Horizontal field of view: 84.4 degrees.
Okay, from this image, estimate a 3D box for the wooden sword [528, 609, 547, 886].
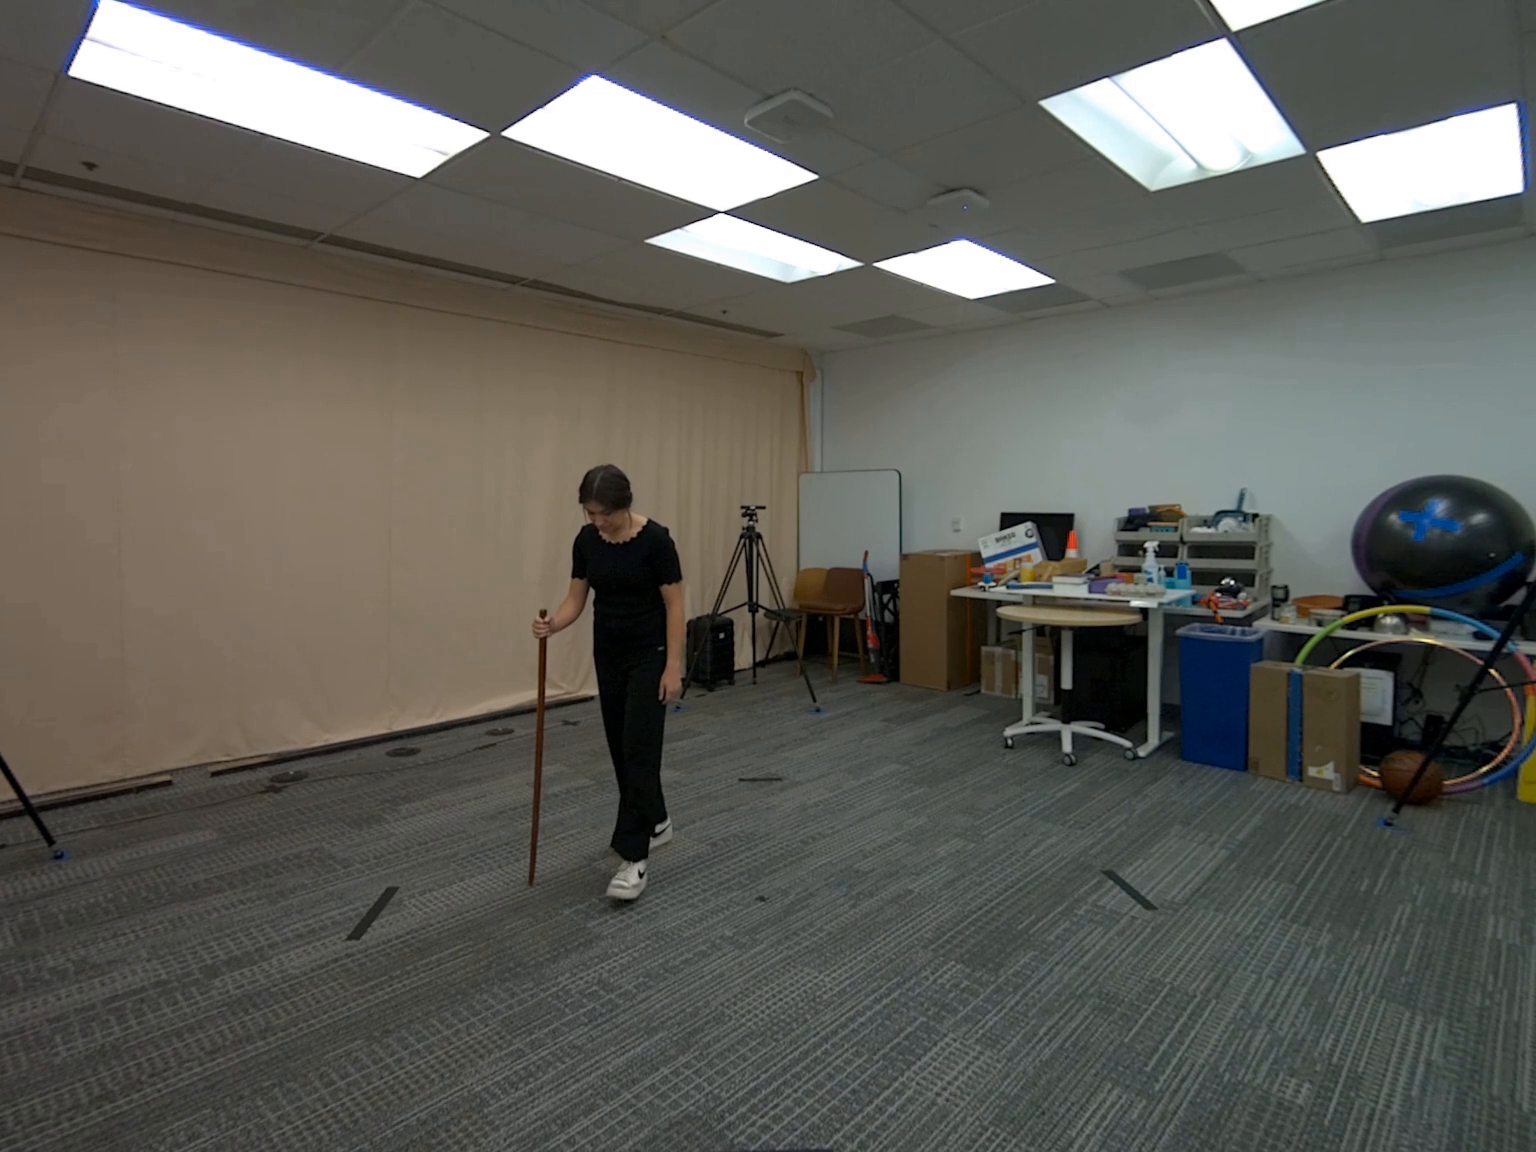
[{"bbox_3d":[-0.846,0.653,3.084,0.052,1.022,0.024,6,5,8],"label":"wooden sword"}]
